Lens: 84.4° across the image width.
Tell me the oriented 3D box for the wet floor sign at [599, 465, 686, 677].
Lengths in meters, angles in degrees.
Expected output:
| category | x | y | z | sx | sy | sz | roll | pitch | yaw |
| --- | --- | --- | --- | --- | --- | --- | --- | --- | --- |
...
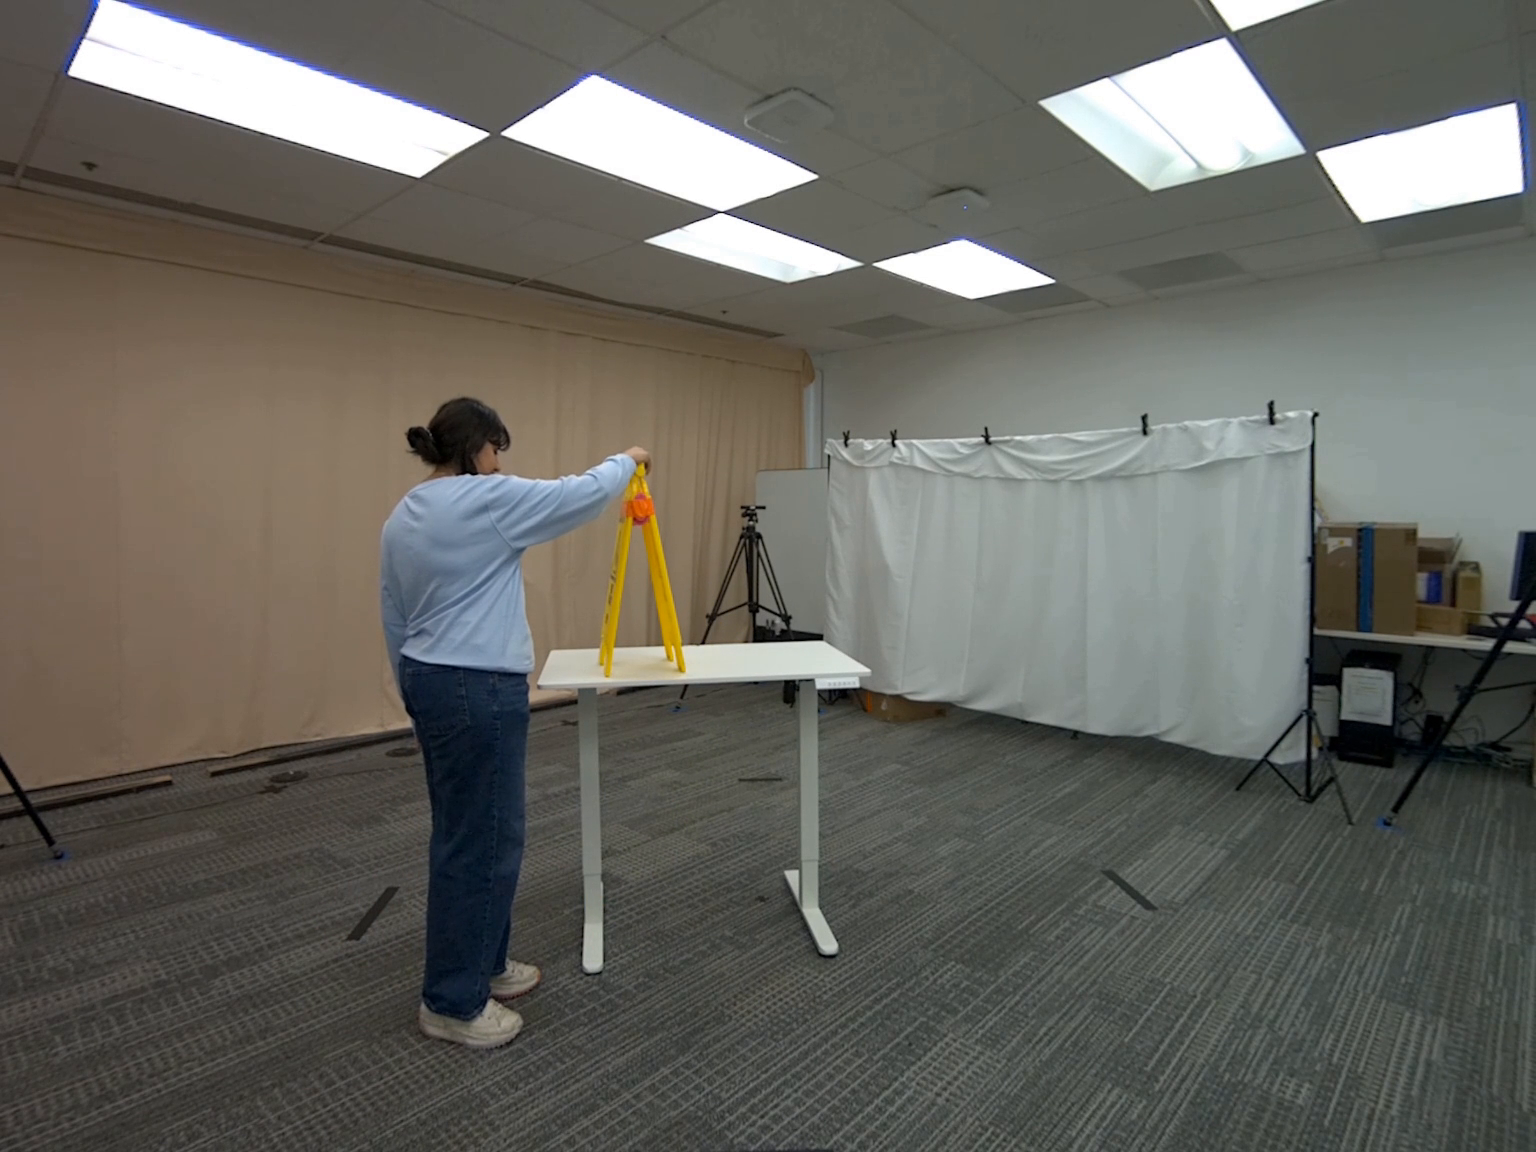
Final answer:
| category | x | y | z | sx | sy | sz | roll | pitch | yaw |
| --- | --- | --- | --- | --- | --- | --- | --- | --- | --- |
| wet floor sign | -0.408 | -0.034 | 2.666 | 0.286 | 0.645 | 0.287 | -1 | 3 | -14 |
